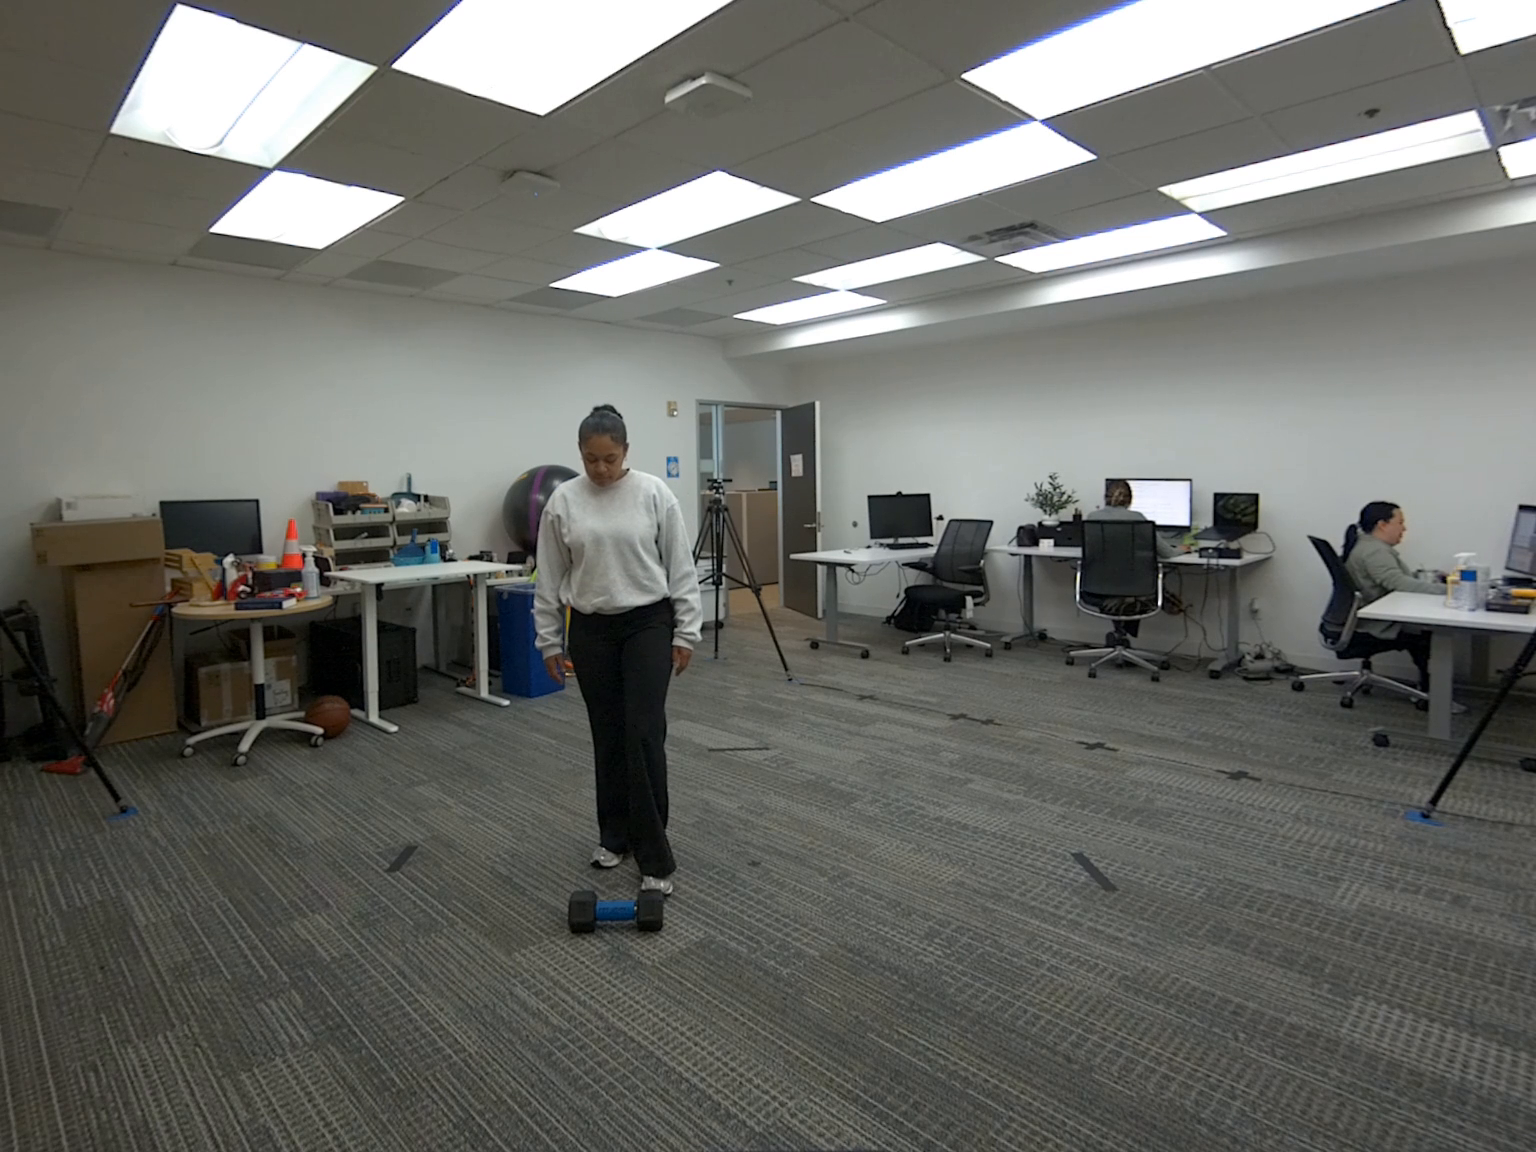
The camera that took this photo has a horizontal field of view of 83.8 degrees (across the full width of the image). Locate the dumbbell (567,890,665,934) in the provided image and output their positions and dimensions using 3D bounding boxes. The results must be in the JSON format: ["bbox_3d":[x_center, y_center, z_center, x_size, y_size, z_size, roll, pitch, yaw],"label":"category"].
[{"bbox_3d":[-0.475,1.055,2.679,0.293,0.126,0.106,-1,-25,-1],"label":"dumbbell"}]
